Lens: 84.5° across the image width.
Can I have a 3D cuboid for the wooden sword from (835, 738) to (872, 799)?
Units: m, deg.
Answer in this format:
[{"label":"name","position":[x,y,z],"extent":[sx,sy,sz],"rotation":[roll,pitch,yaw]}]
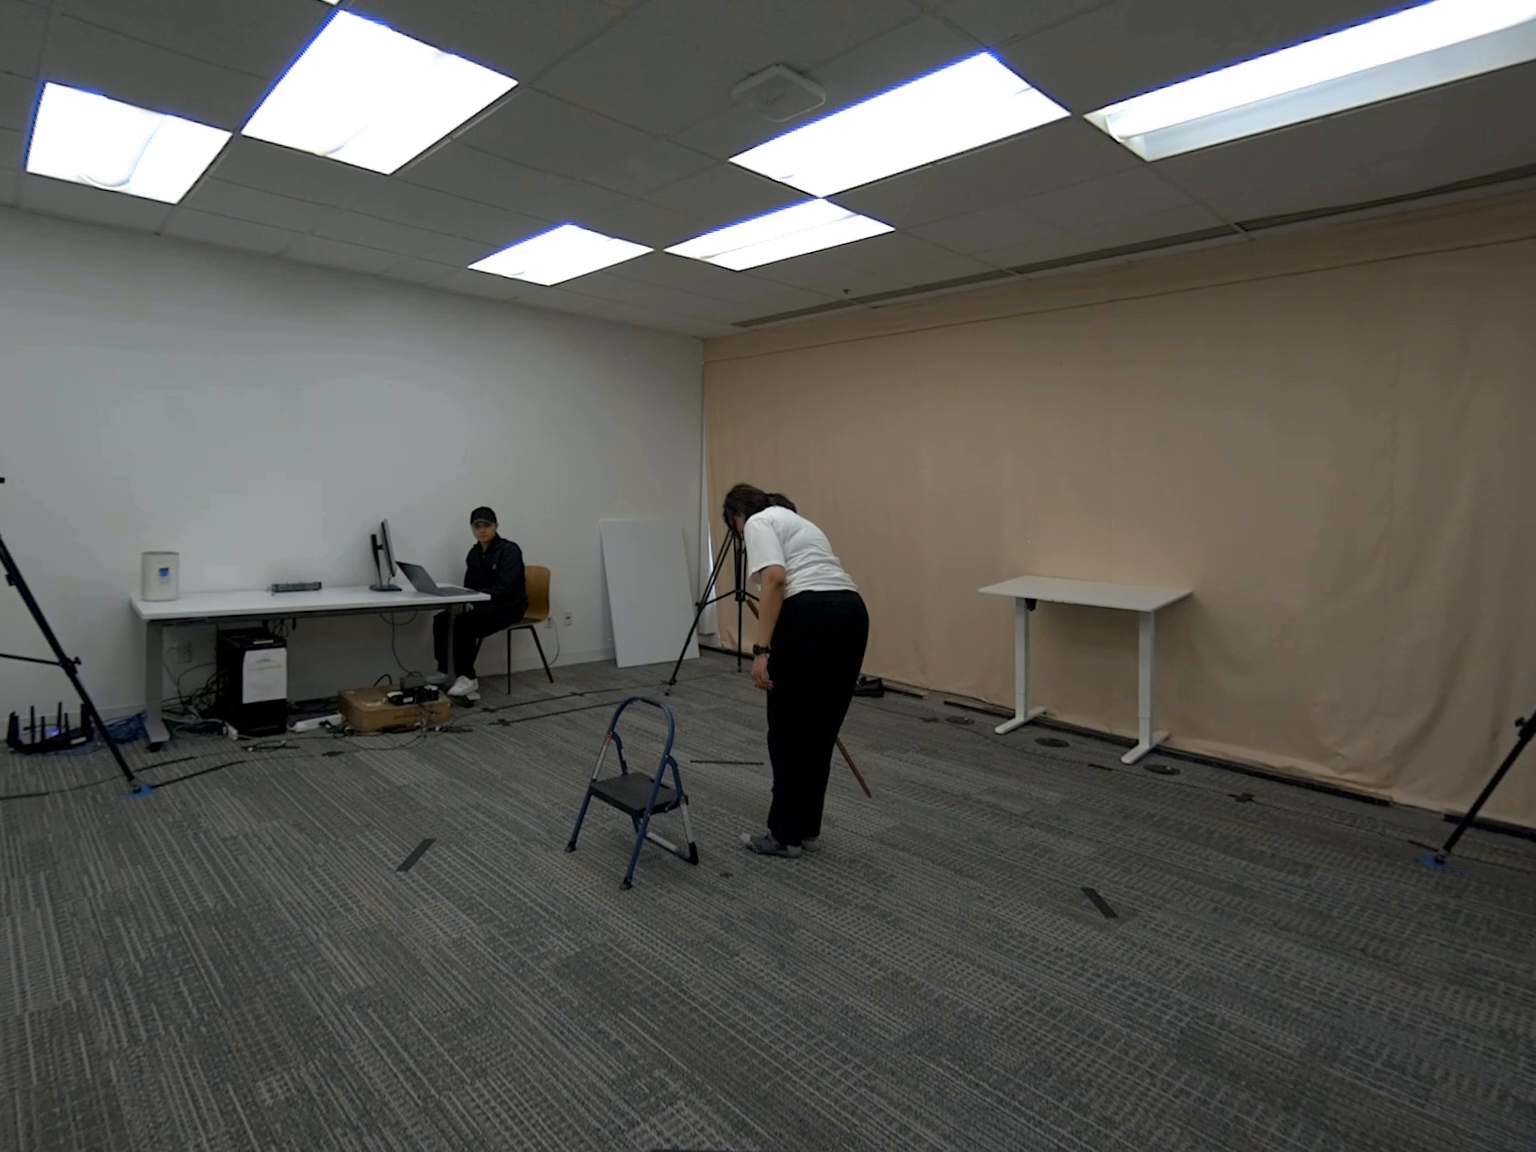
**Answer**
[{"label":"wooden sword","position":[0.189,0.547,3.786],"extent":[0.024,1.032,0.051],"rotation":[-33,-7,14]}]
